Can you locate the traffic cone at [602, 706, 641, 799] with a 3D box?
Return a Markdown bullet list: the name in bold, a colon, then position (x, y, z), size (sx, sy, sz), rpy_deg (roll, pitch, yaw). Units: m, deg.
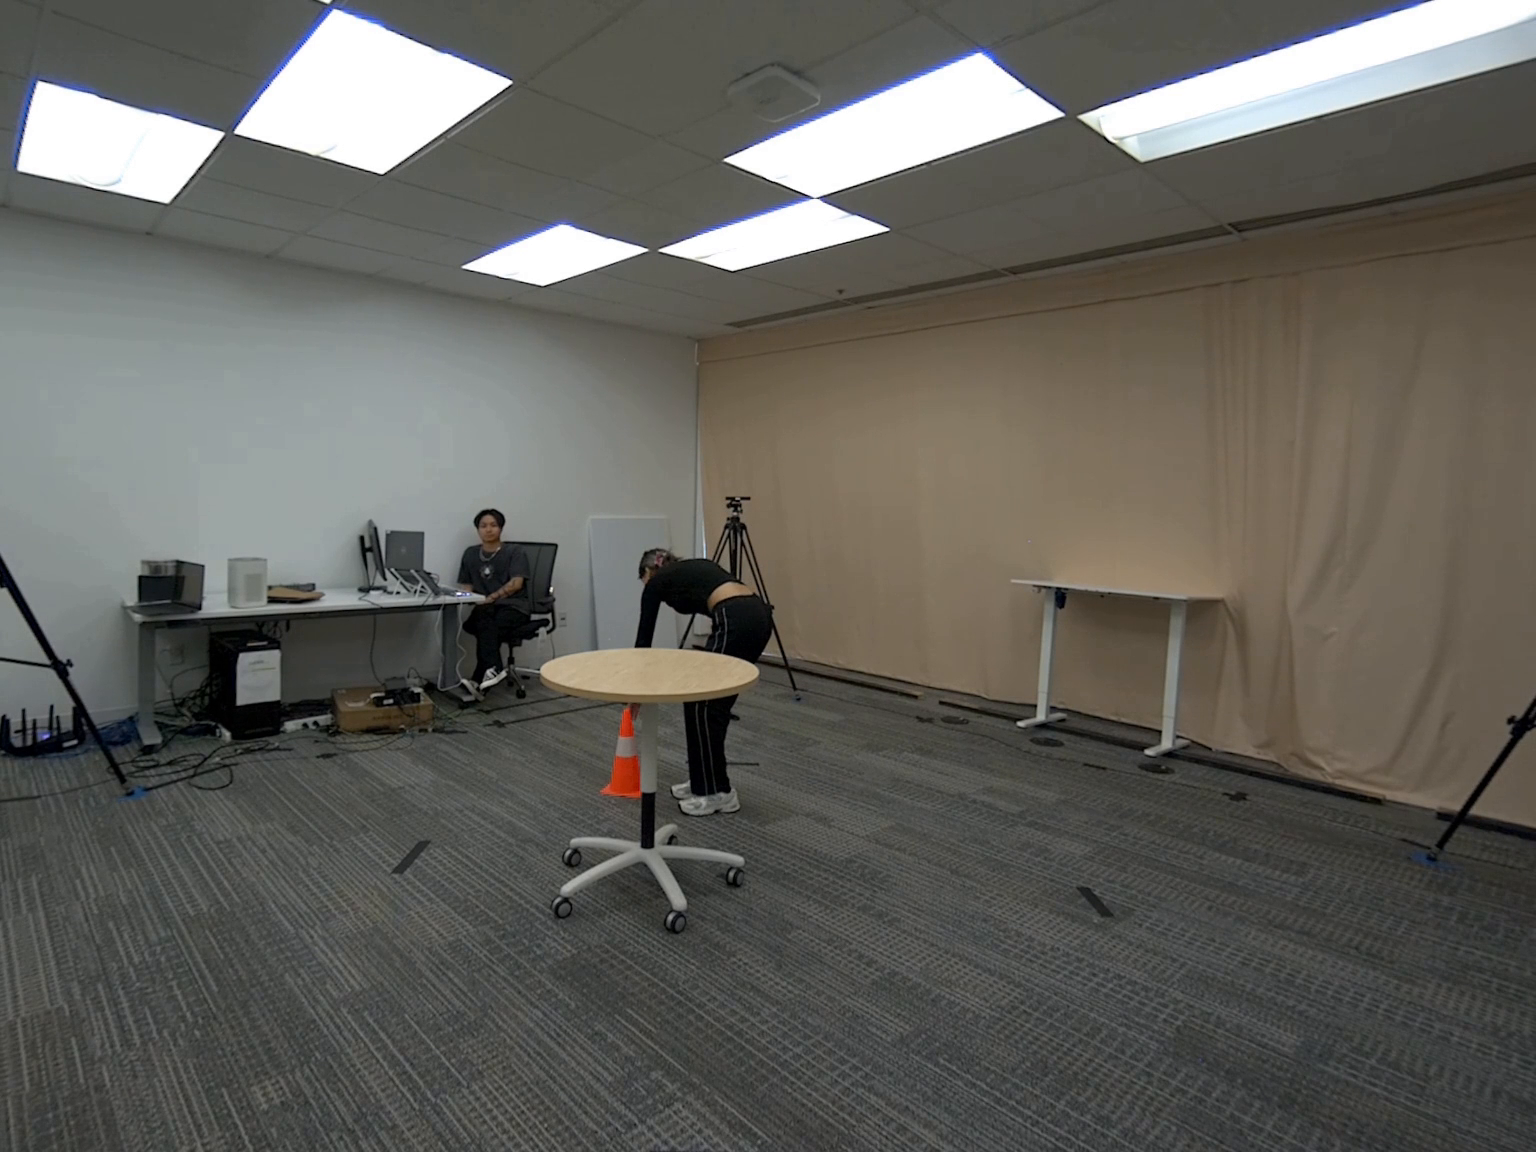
- **traffic cone**: position (-0.673, 0.819, 4.002), size (0.206, 0.382, 0.203), rpy_deg (3, 5, 17)
